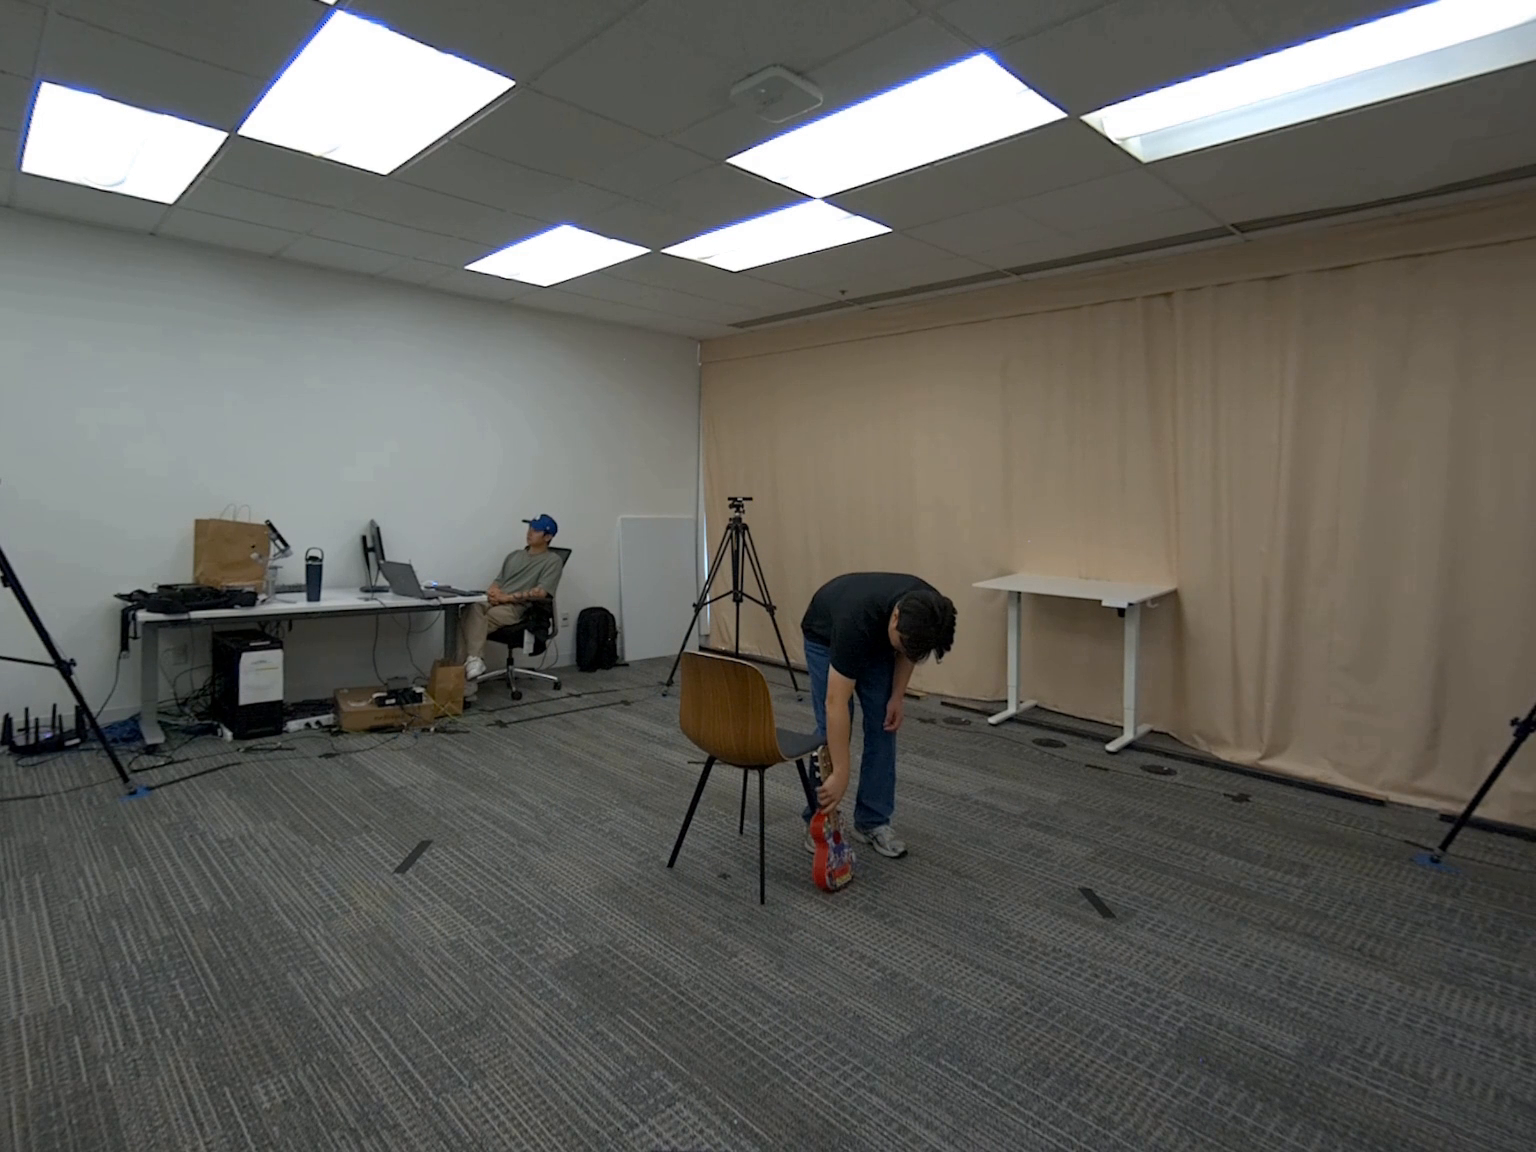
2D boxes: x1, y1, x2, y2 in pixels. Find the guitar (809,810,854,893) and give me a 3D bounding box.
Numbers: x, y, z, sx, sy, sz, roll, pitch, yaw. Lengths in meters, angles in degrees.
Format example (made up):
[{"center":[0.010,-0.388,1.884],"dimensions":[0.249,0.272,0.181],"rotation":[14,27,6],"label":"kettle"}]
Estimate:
[{"center":[0.223,0.875,3.066],"dimensions":[0.072,0.502,0.188],"rotation":[-14,-14,41],"label":"guitar"}]
